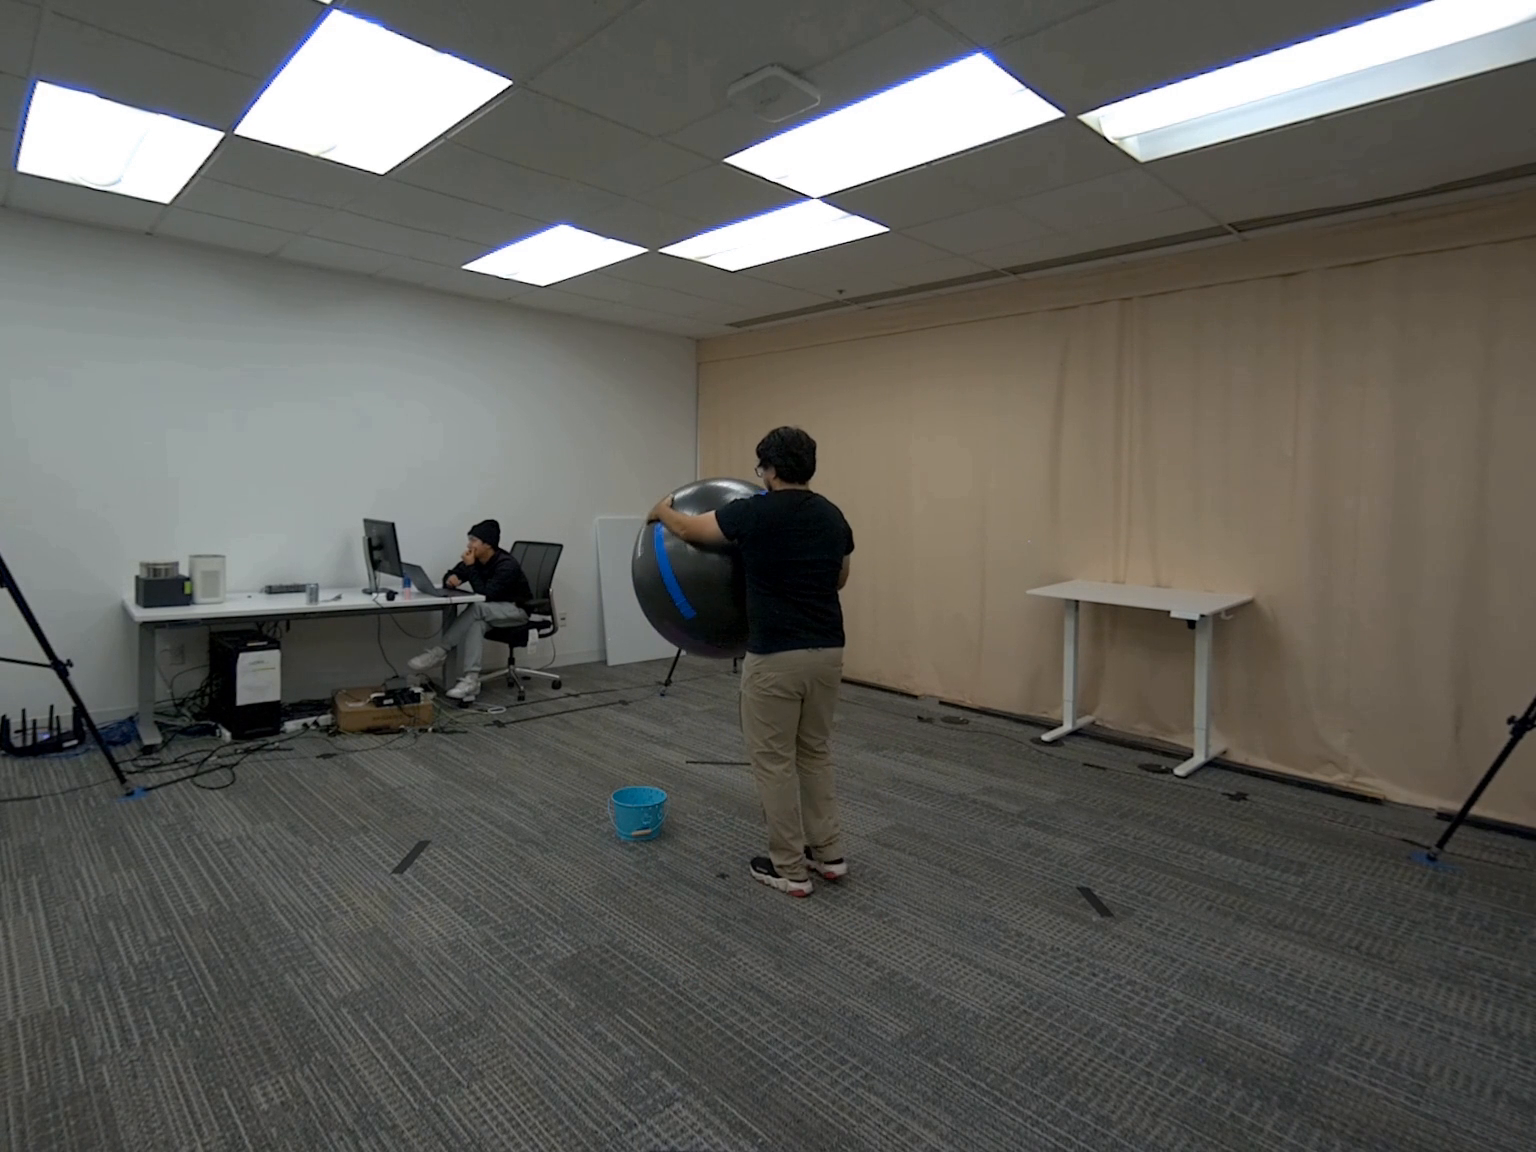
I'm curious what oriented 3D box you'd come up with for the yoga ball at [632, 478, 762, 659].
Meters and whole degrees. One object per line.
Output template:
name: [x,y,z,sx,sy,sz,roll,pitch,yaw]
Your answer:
yoga ball: [-0.203,-0.029,3.551,0.757,0.756,0.761,1,4,-1]
